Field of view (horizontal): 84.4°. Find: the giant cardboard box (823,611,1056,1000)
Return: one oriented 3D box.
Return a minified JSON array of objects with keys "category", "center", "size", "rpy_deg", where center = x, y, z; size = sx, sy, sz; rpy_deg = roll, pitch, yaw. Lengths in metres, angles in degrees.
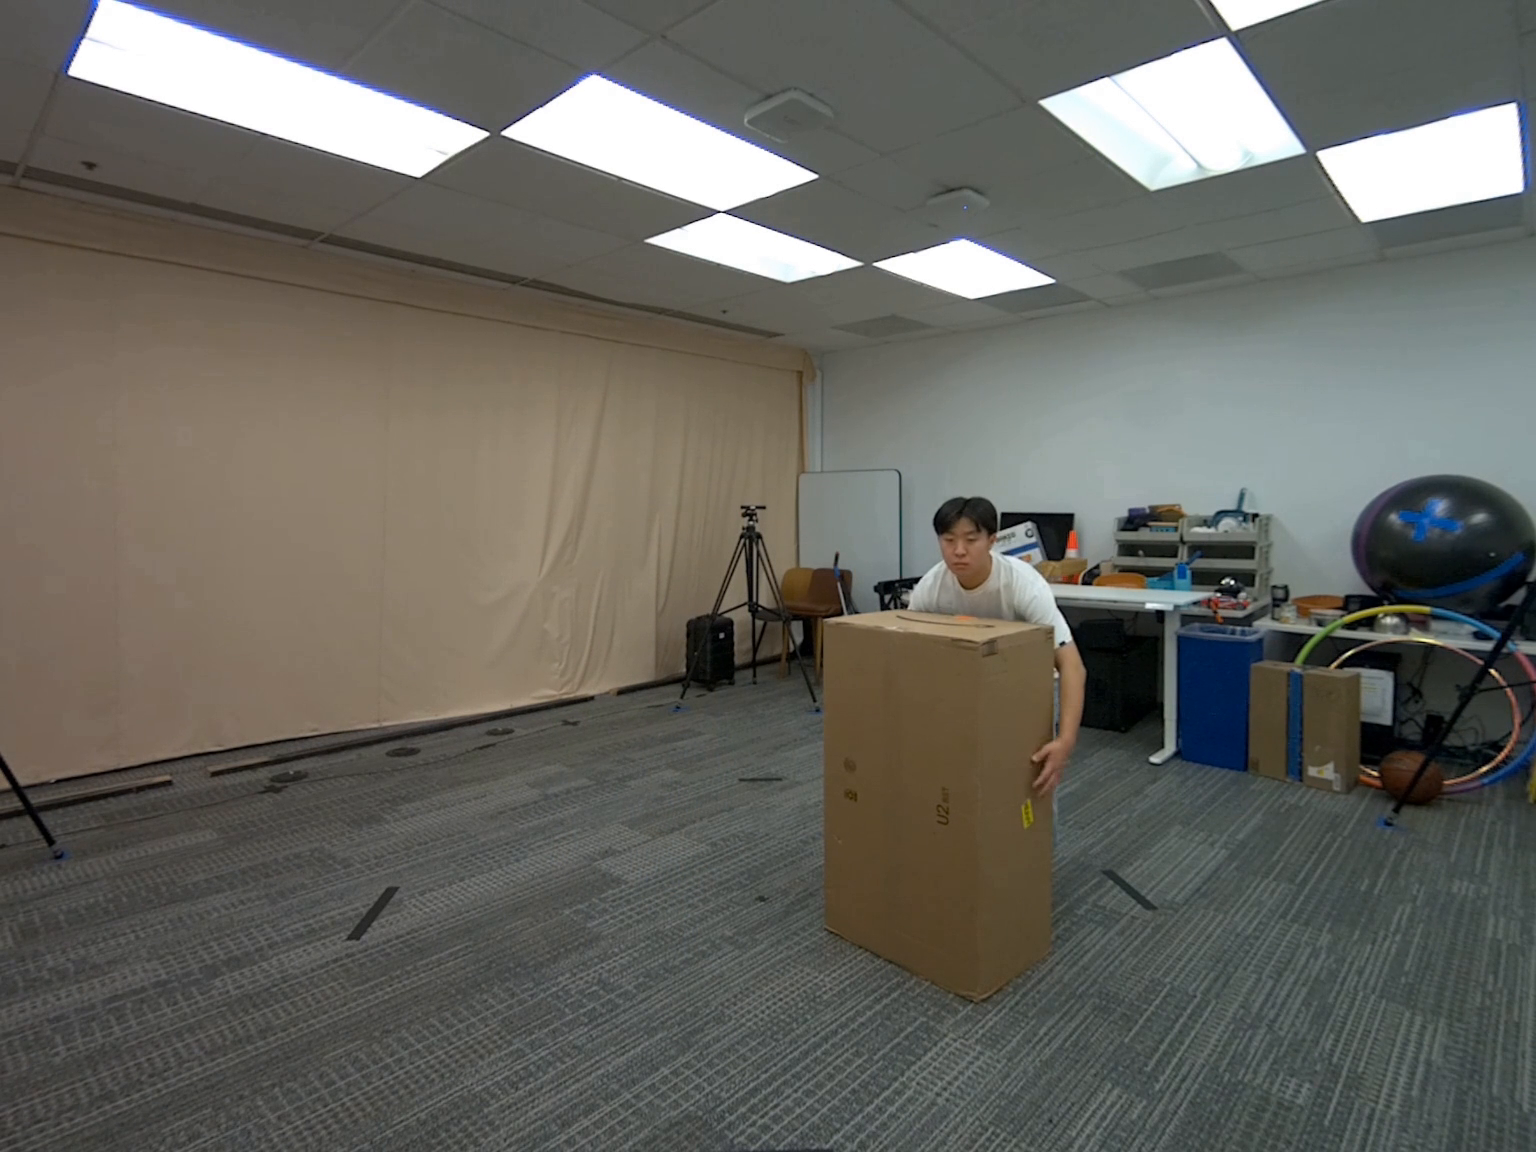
[{"category":"giant cardboard box","center":[0.532,0.655,2.671],"size":[0.413,1.024,0.596],"rpy_deg":[-3,4,-43]}]
